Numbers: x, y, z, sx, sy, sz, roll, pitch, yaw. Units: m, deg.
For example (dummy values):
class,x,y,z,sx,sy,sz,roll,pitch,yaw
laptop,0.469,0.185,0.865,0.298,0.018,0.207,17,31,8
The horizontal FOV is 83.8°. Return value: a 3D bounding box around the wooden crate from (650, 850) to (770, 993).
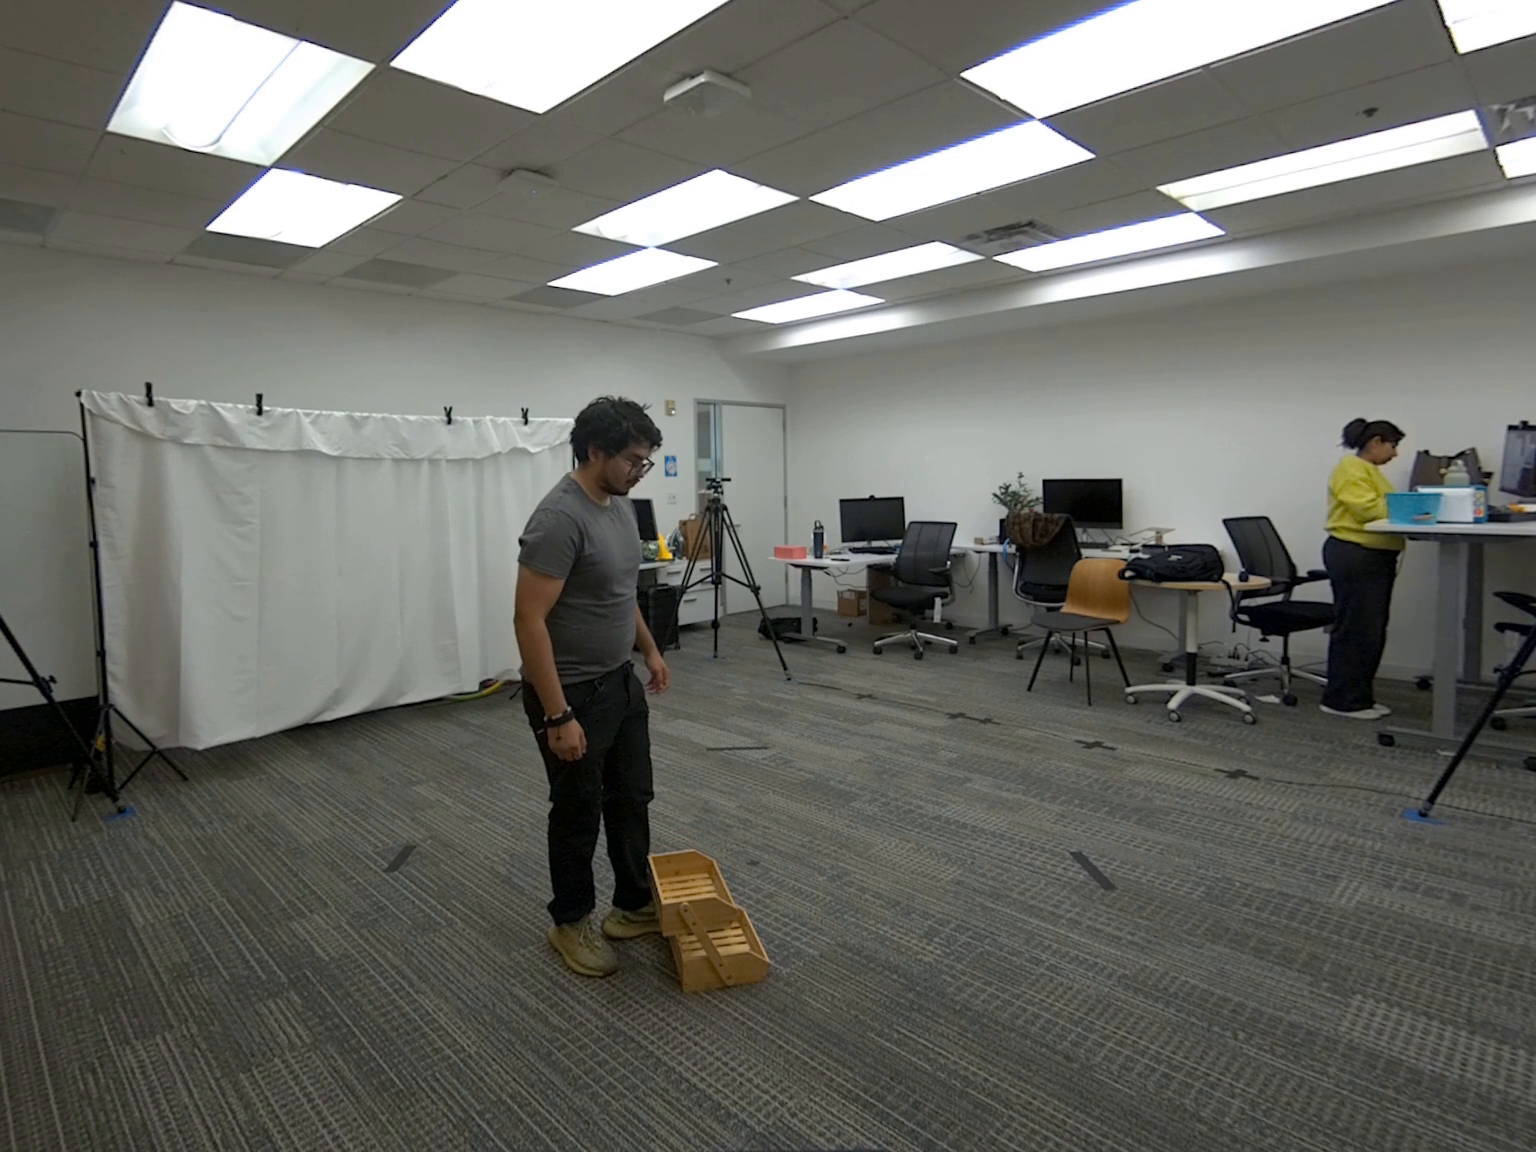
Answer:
class,x,y,z,sx,sy,sz,roll,pitch,yaw
wooden crate,-0.174,0.980,2.484,0.298,0.272,0.330,-3,6,-13
